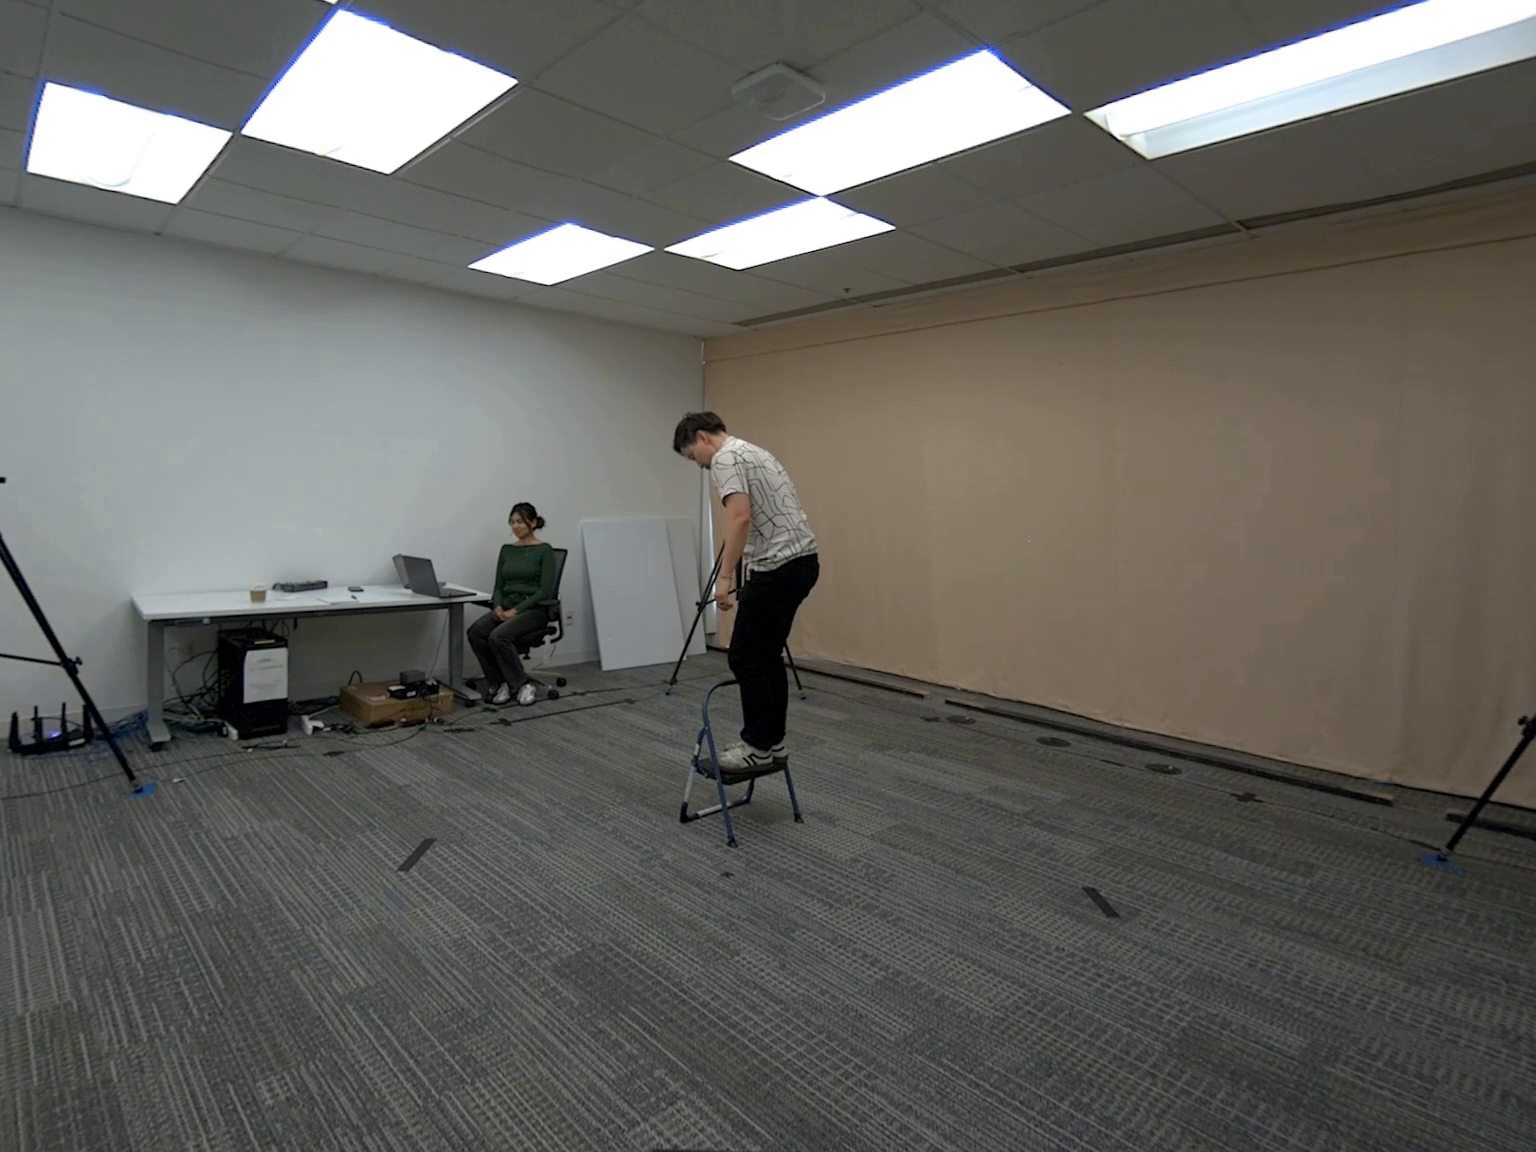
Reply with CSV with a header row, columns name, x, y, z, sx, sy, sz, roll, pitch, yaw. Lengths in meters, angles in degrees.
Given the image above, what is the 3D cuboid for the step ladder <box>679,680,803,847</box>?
name,x,y,z,sx,sy,sz,roll,pitch,yaw
step ladder,-0.116,0.755,3.601,0.358,0.605,0.421,4,4,44
